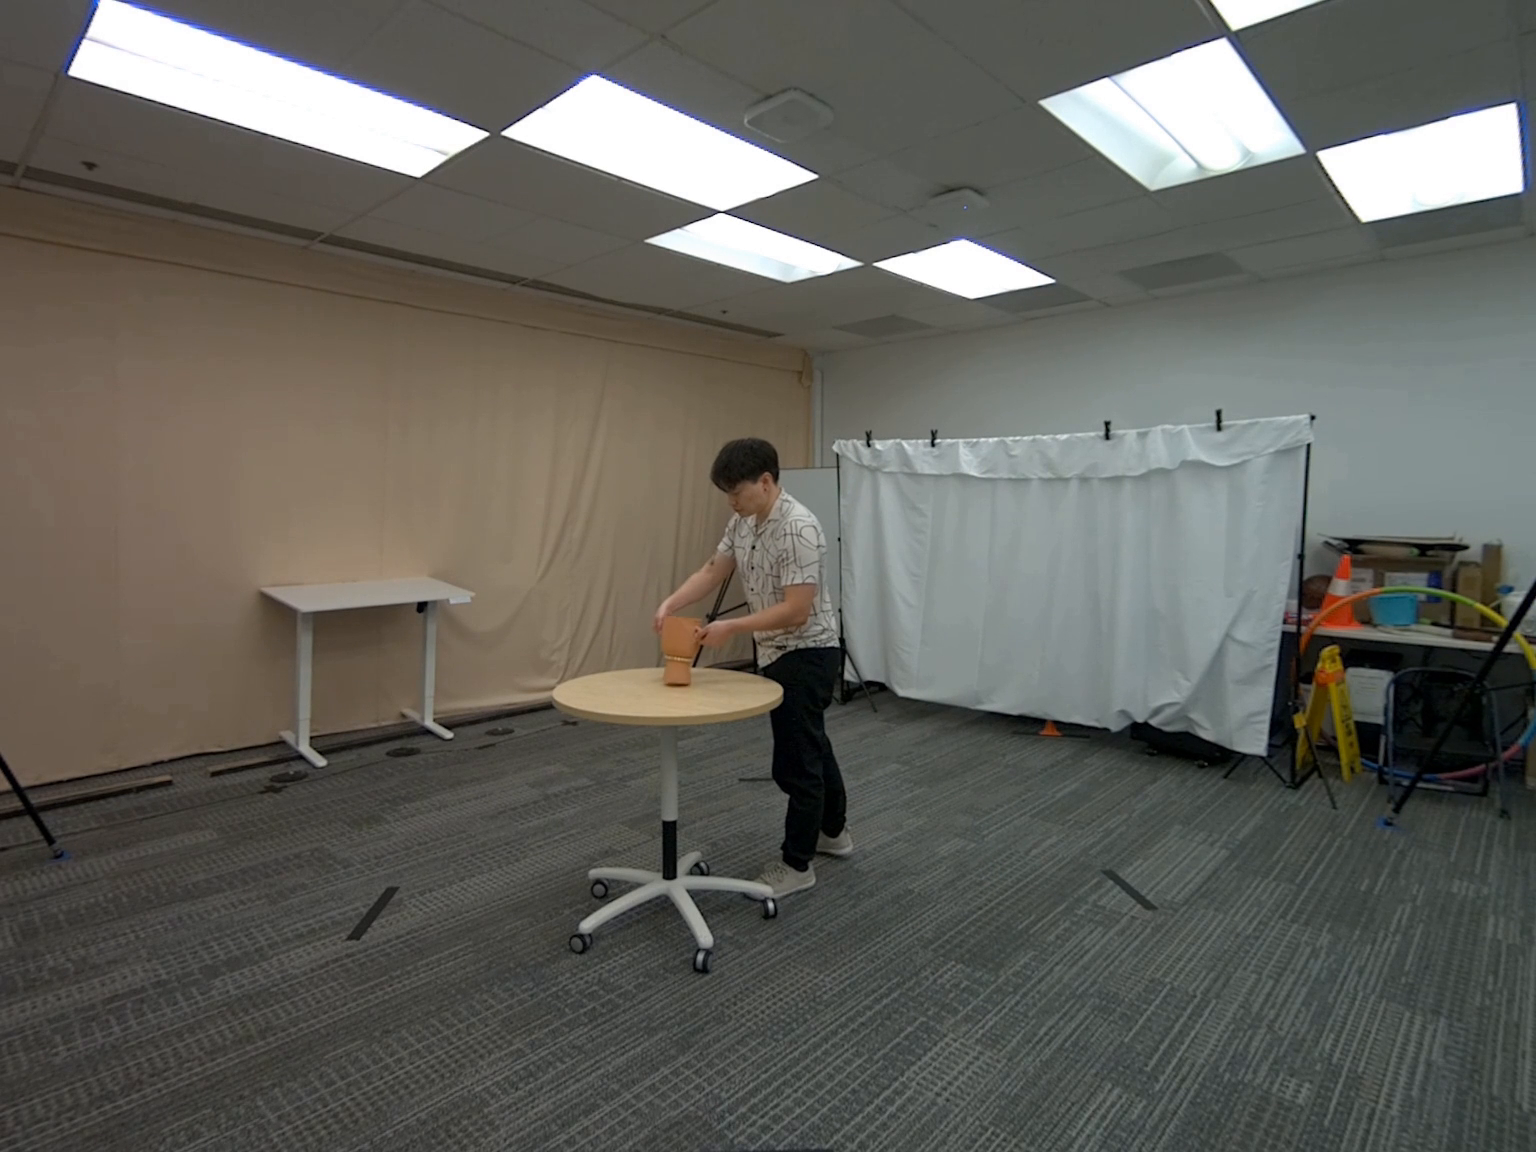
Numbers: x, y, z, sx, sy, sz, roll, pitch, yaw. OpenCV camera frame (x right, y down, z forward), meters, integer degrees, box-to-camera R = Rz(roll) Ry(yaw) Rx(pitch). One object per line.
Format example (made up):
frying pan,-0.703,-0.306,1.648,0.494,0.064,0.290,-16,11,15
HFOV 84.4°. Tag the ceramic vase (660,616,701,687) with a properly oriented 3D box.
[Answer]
ceramic vase,-0.293,0.255,2.878,0.133,0.220,0.160,8,-3,-11
